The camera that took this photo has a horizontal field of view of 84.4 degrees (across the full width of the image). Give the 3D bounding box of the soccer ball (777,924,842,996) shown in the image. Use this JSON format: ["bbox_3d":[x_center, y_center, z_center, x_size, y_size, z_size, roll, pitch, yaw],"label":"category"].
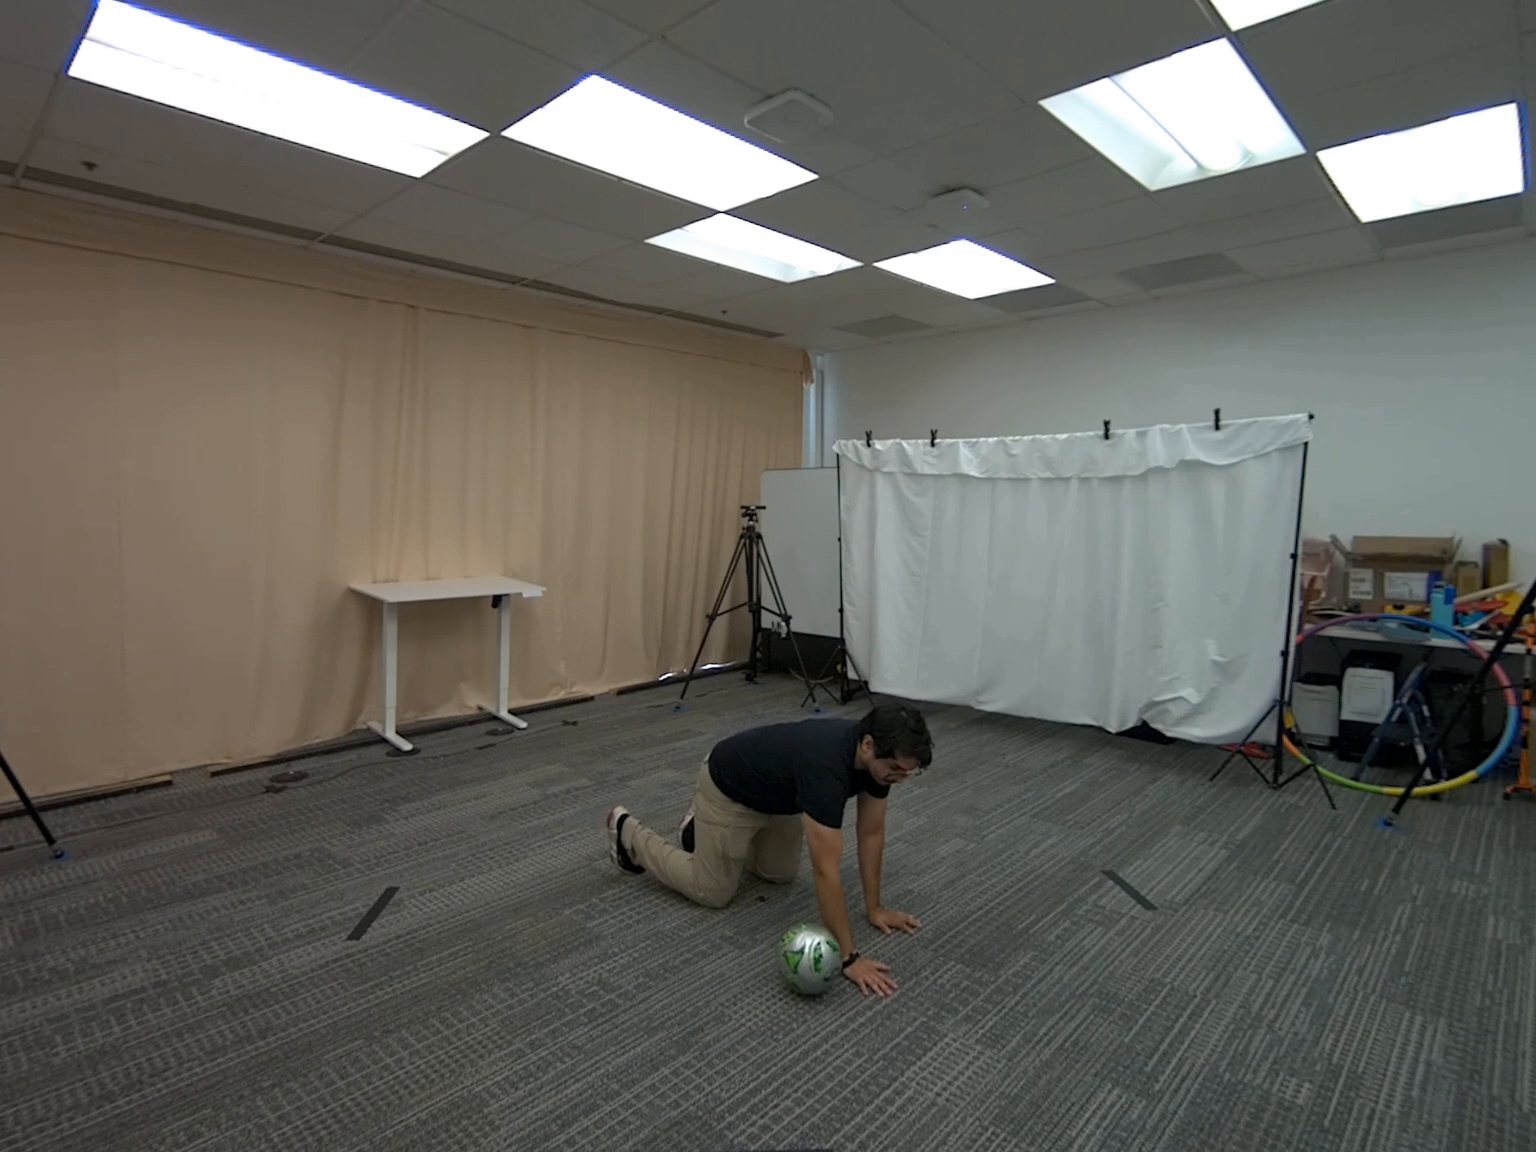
[{"bbox_3d":[0.114,1.094,2.418,0.187,0.187,0.188,0,4,-2],"label":"soccer ball"}]
